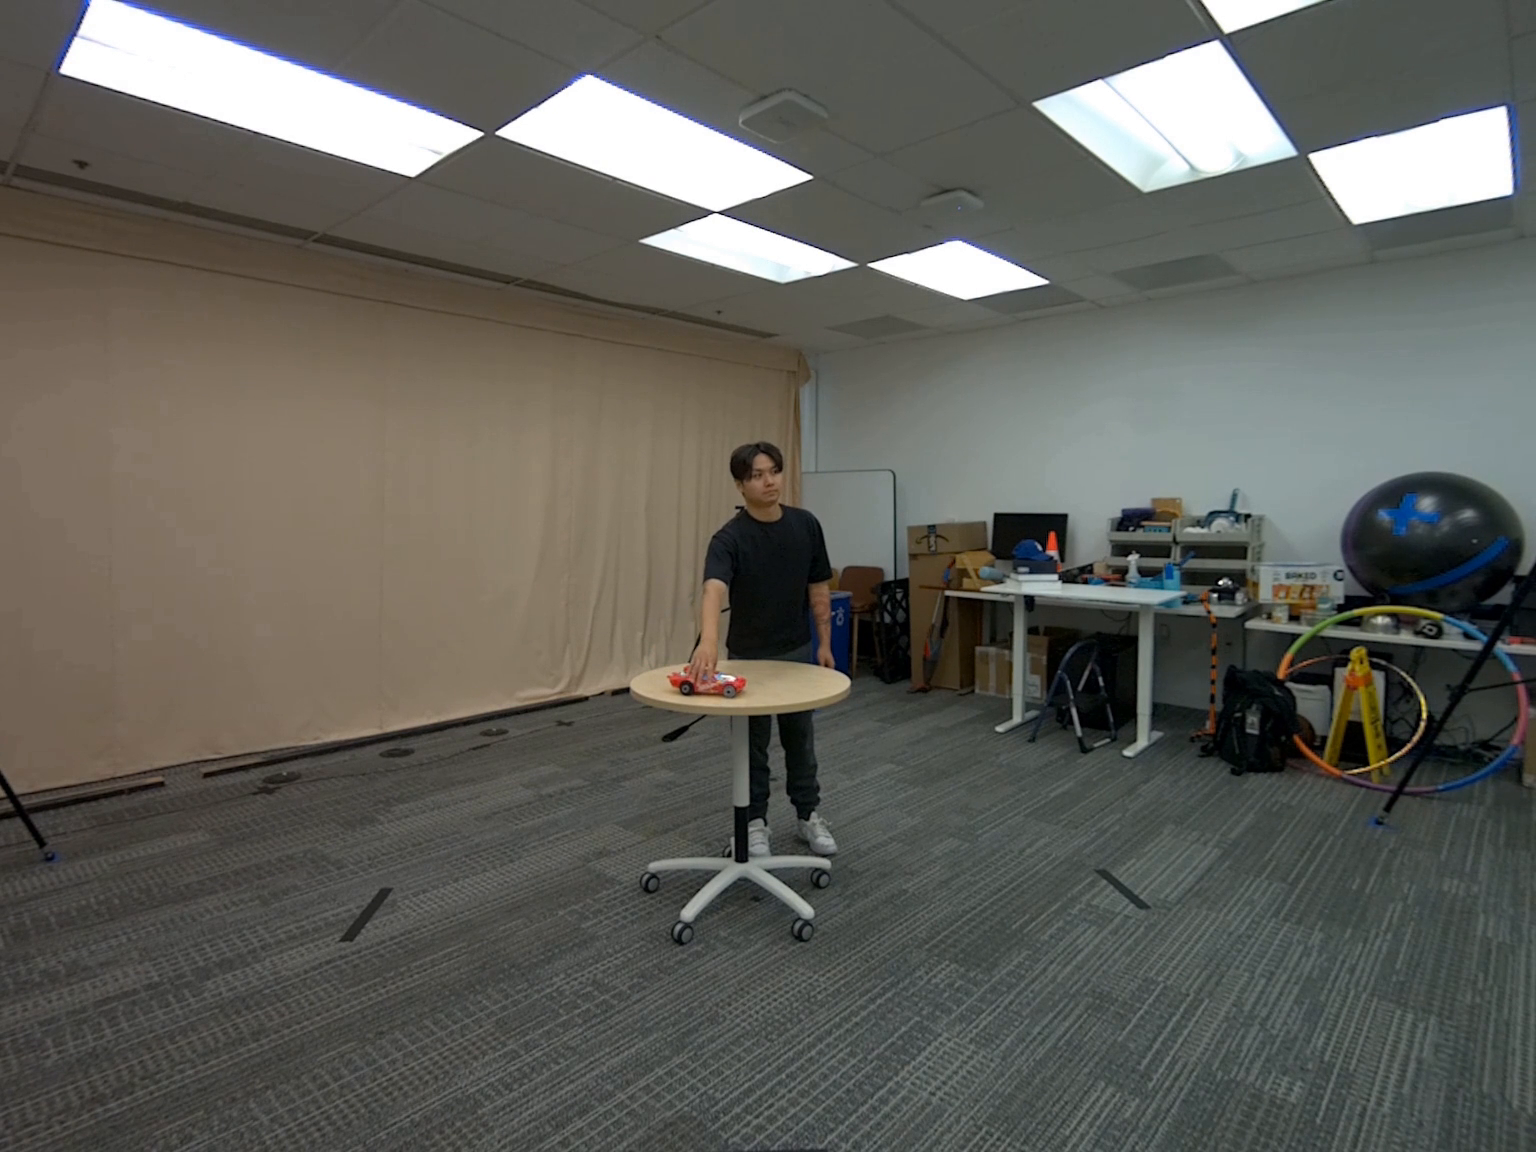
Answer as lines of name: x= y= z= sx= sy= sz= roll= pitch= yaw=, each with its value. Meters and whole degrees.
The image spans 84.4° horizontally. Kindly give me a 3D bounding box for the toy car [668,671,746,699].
toy car: x=-0.198 y=0.354 z=2.751 sx=0.259 sy=0.083 sz=0.128 roll=12 pitch=9 yaw=14
